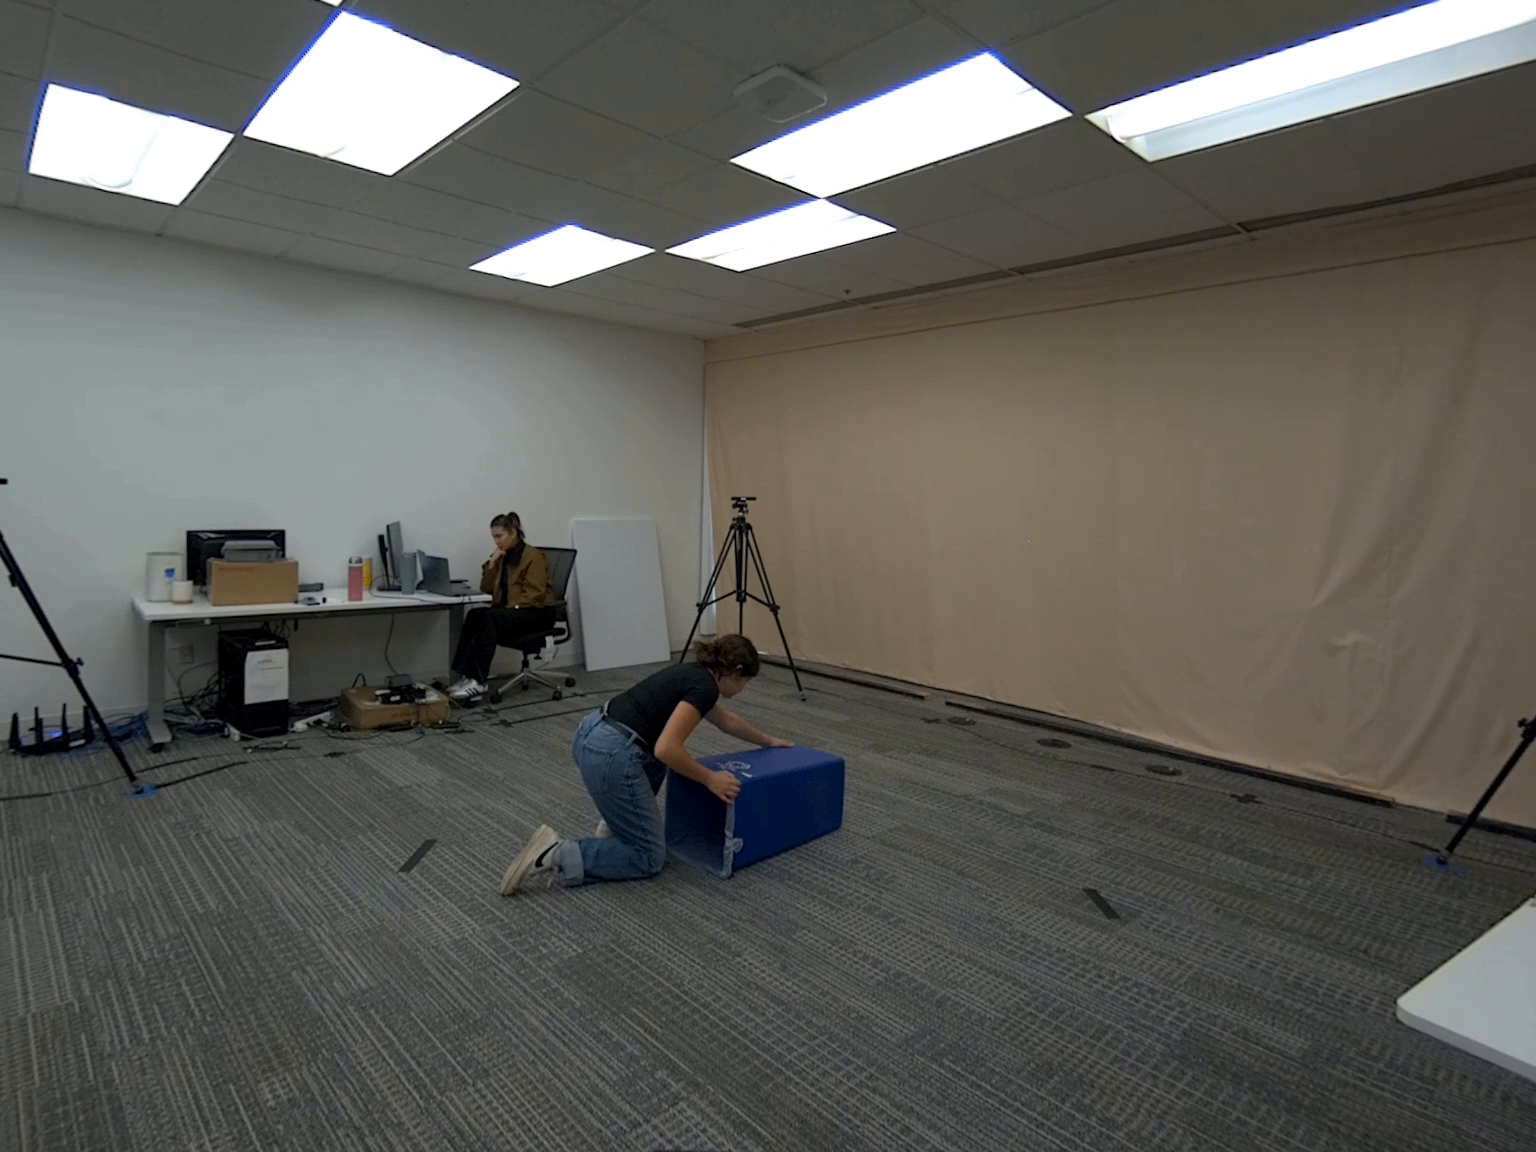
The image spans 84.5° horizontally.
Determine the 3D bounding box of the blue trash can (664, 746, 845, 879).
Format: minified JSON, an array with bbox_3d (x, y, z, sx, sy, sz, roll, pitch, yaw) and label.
[{"bbox_3d":[-0.041,0.916,3.438,0.383,0.378,0.696,4,2,44],"label":"blue trash can"}]
